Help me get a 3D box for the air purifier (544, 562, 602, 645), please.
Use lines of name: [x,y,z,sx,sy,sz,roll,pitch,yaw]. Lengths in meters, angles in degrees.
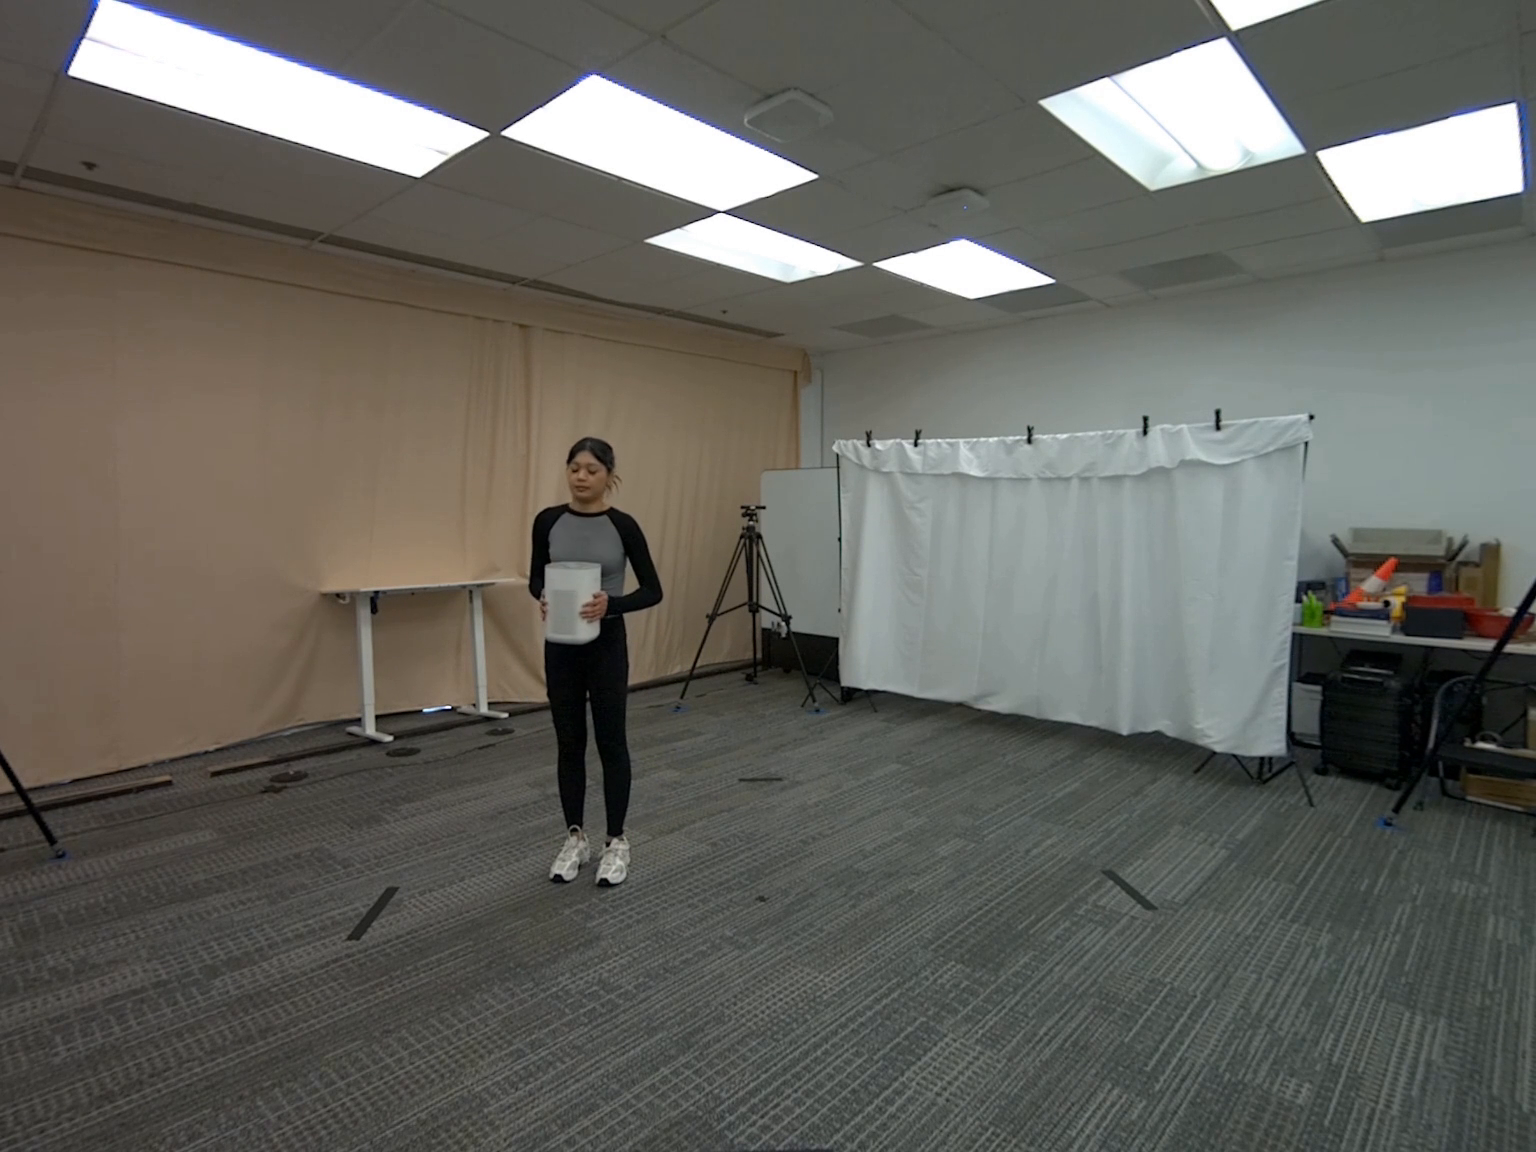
air purifier: [-0.682,0.095,2.921,0.173,0.264,0.170,3,6,5]
